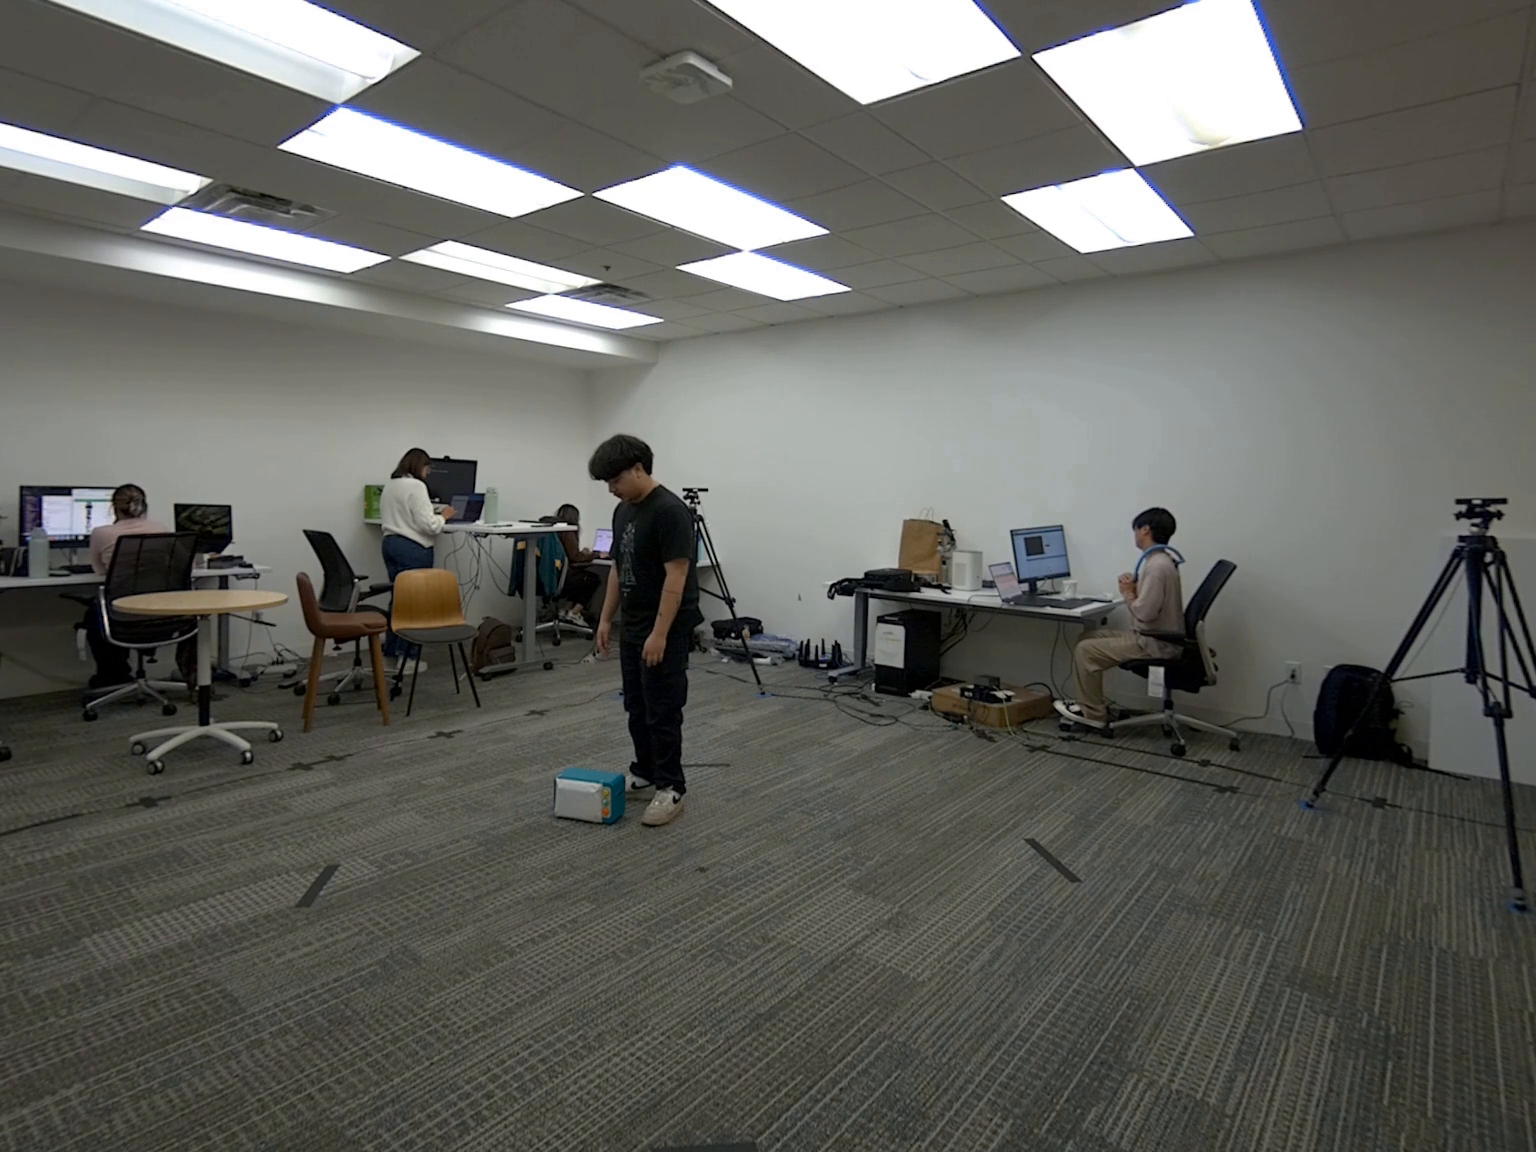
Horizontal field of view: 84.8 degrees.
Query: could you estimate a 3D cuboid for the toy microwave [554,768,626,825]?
[{"bbox_3d":[-0.763,0.922,3.582,0.292,0.184,0.150,2,3,18],"label":"toy microwave"}]
